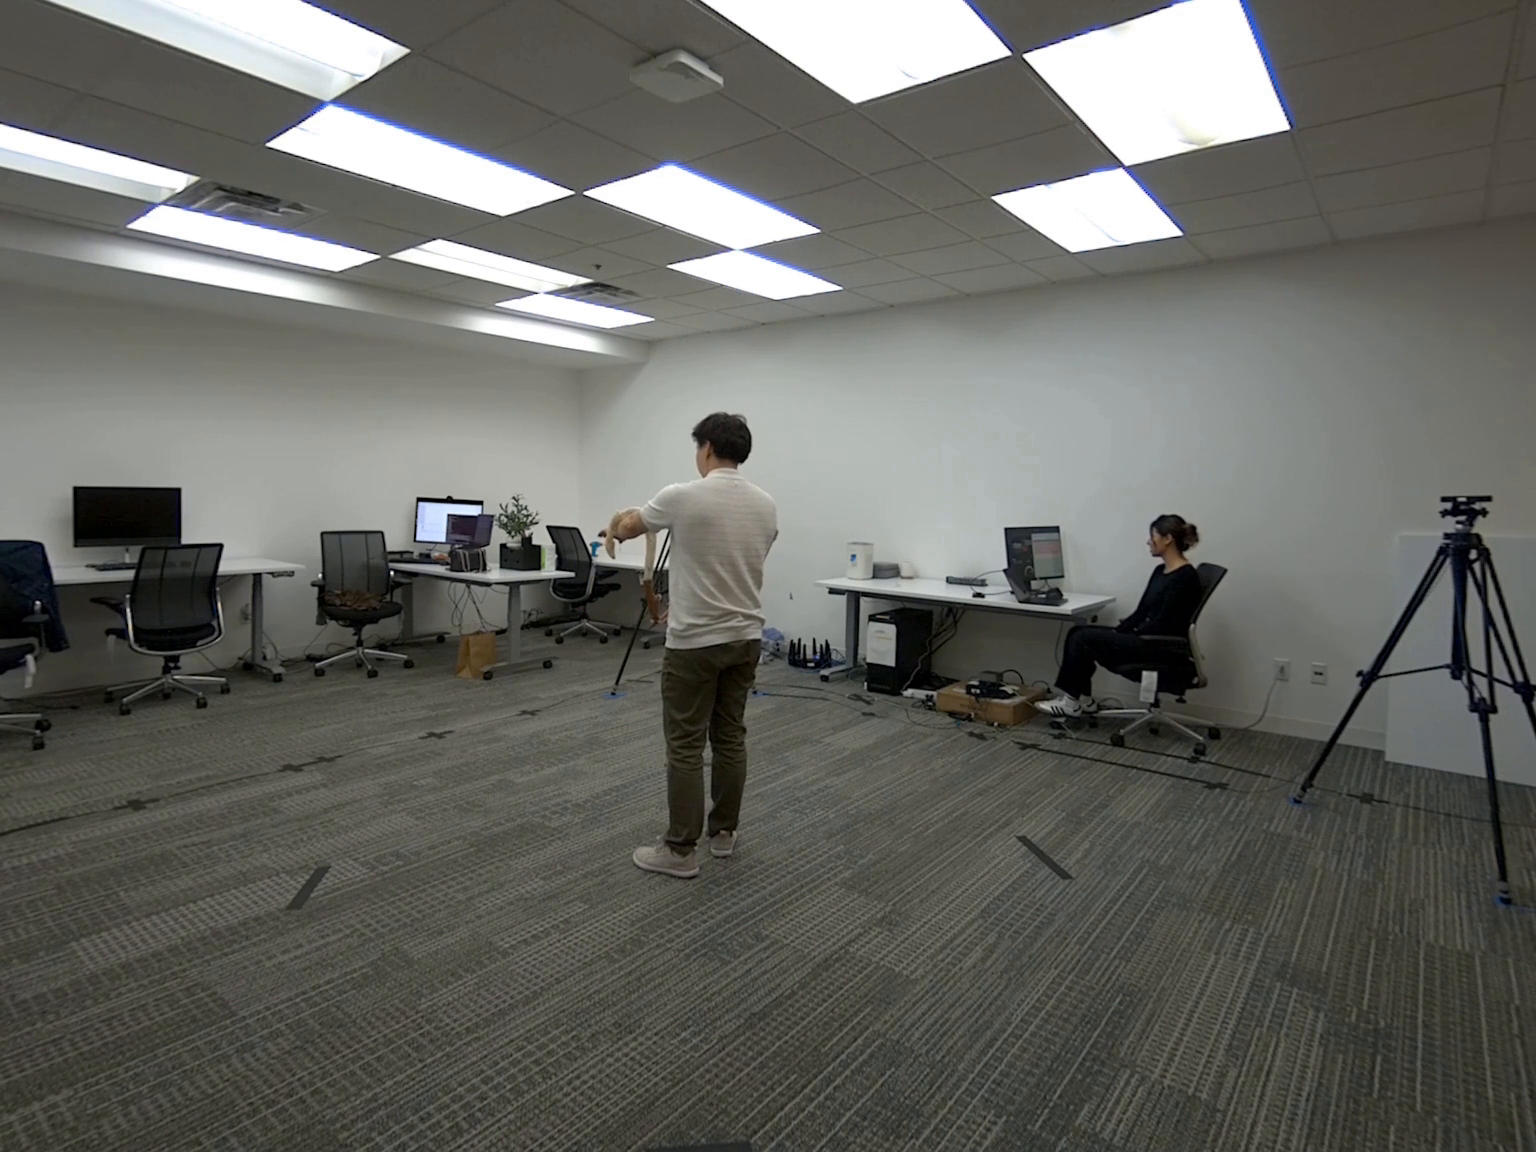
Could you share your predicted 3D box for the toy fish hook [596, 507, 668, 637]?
[{"bbox_3d":[-0.566,-0.024,3.499,0.221,0.502,0.049,-10,9,-21],"label":"toy fish hook"}]
